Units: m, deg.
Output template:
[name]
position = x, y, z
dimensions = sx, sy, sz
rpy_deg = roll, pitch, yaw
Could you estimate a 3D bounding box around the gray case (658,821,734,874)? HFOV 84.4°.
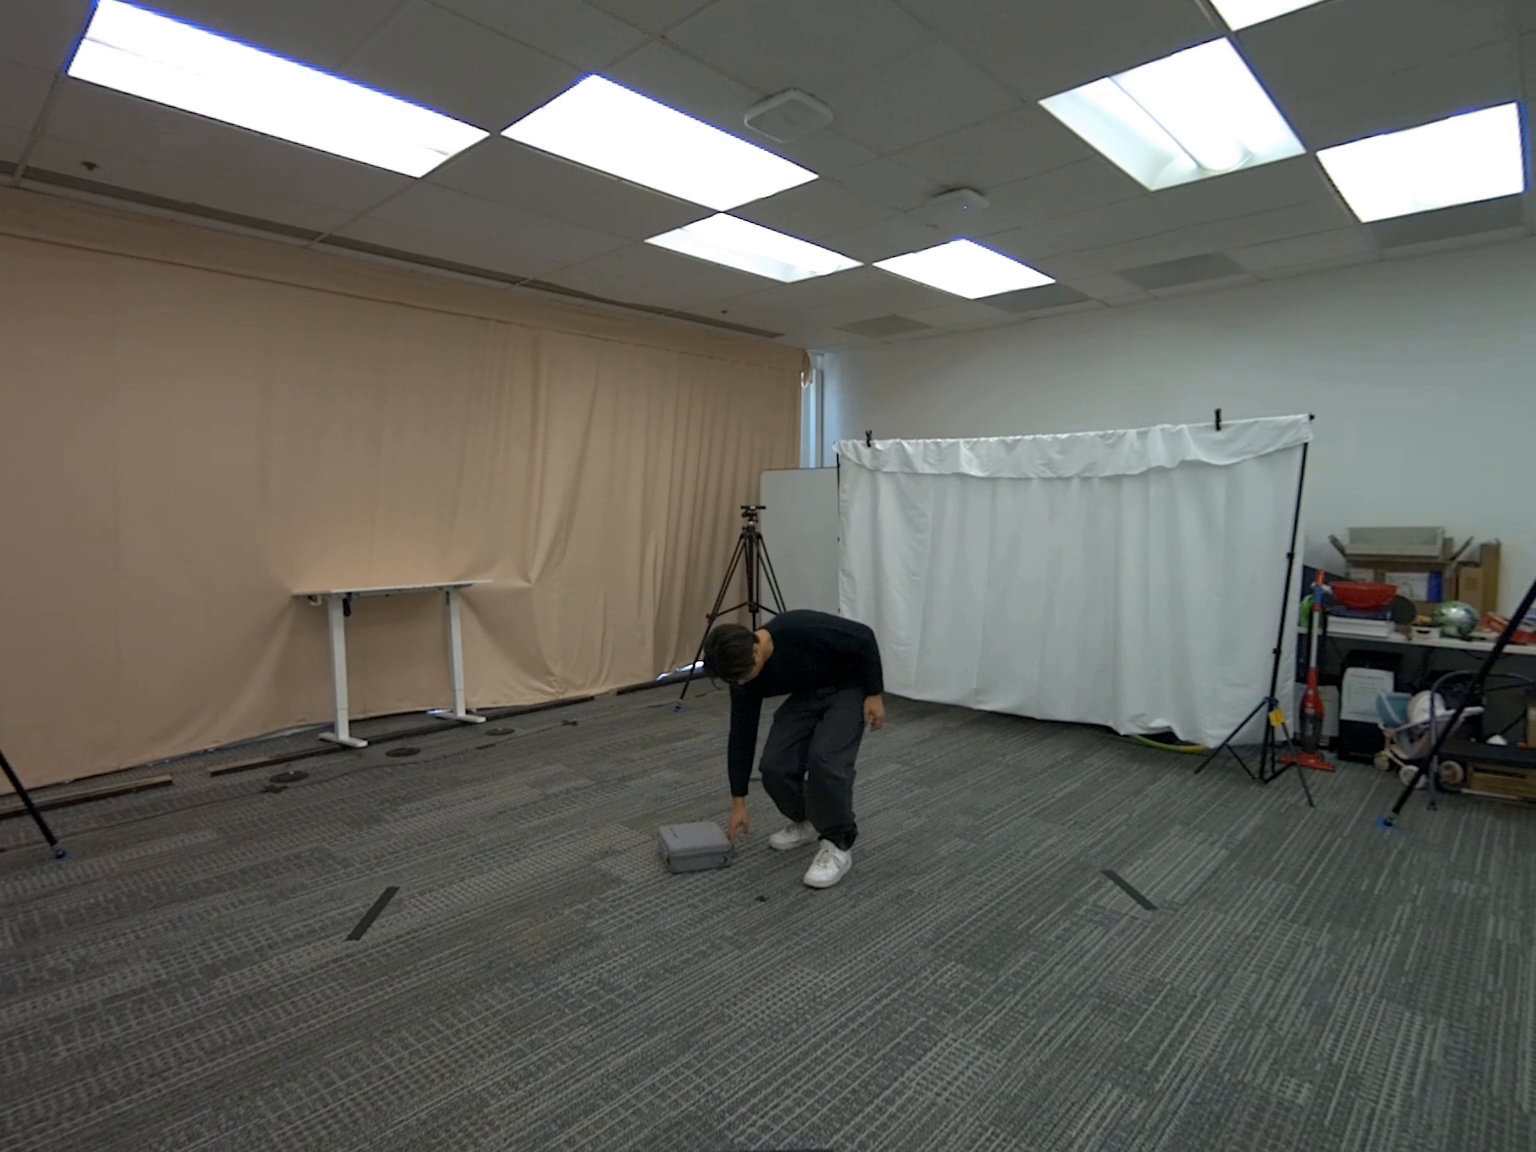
[gray case]
position = -0.291, 1.061, 3.328
dimensions = 0.256, 0.104, 0.262
rpy_deg = -2, 4, -18
